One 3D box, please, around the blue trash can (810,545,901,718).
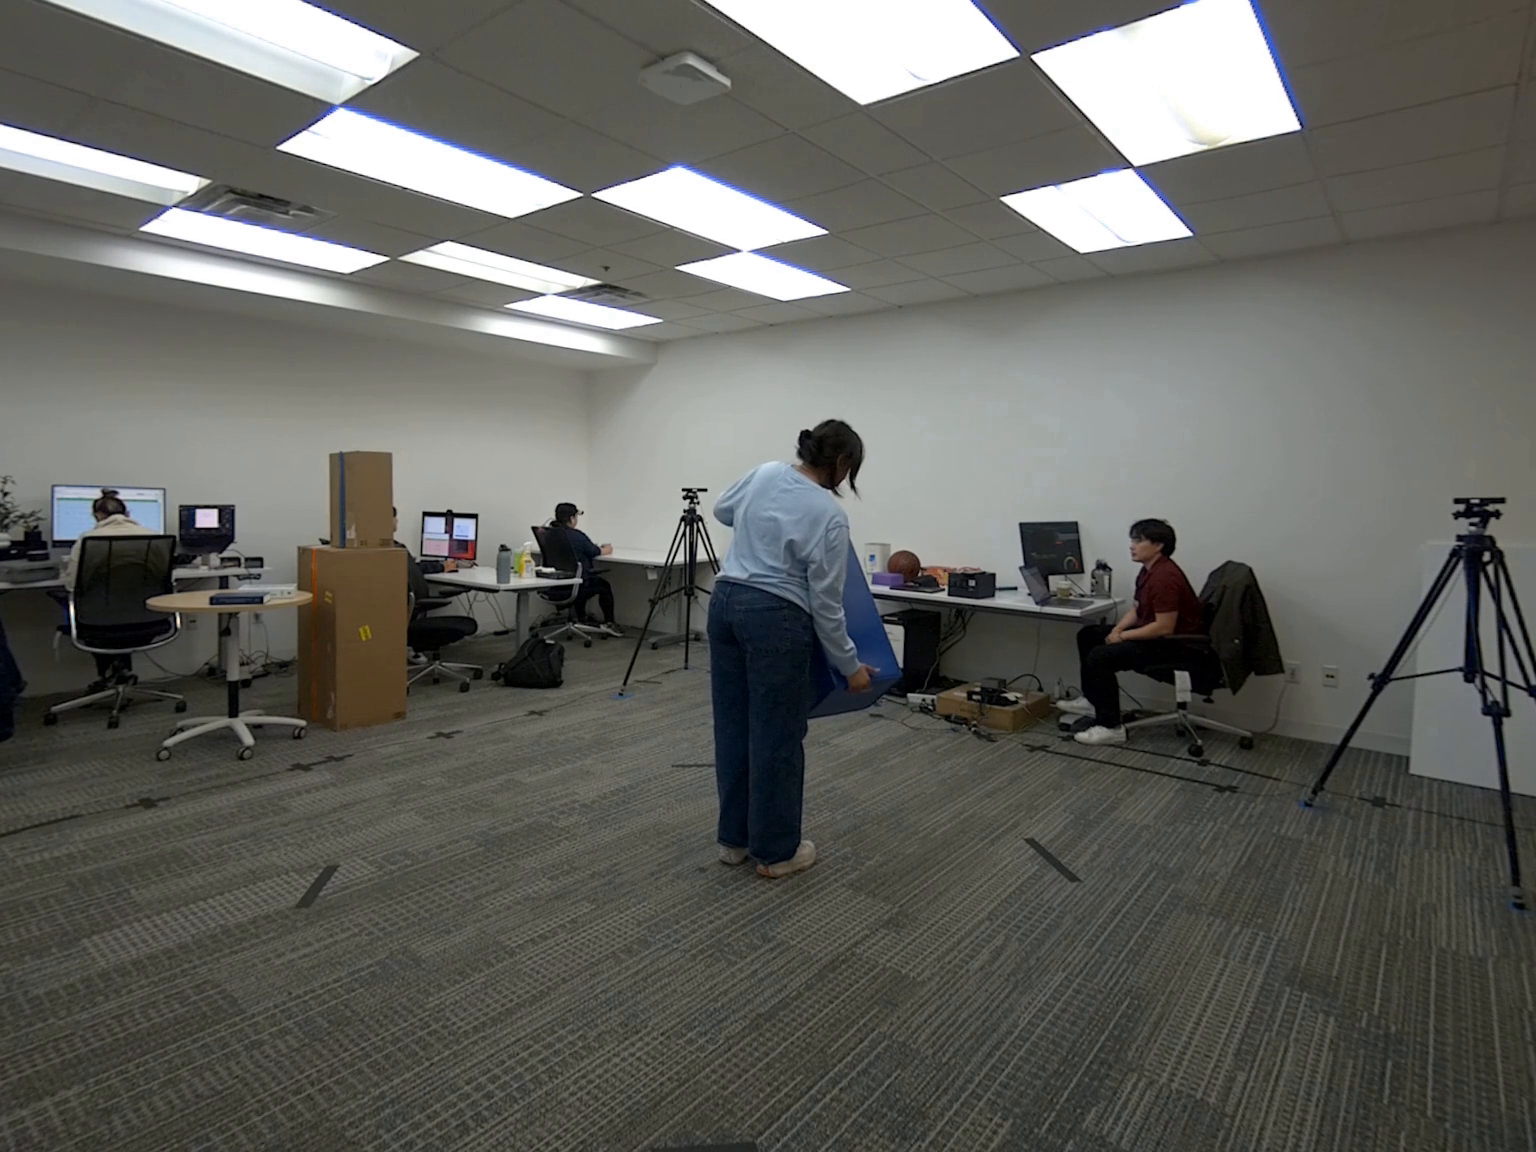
[{"bbox_3d":[0.220,0.151,3.372,0.370,0.736,0.370,-7,-30,-25],"label":"blue trash can"}]
